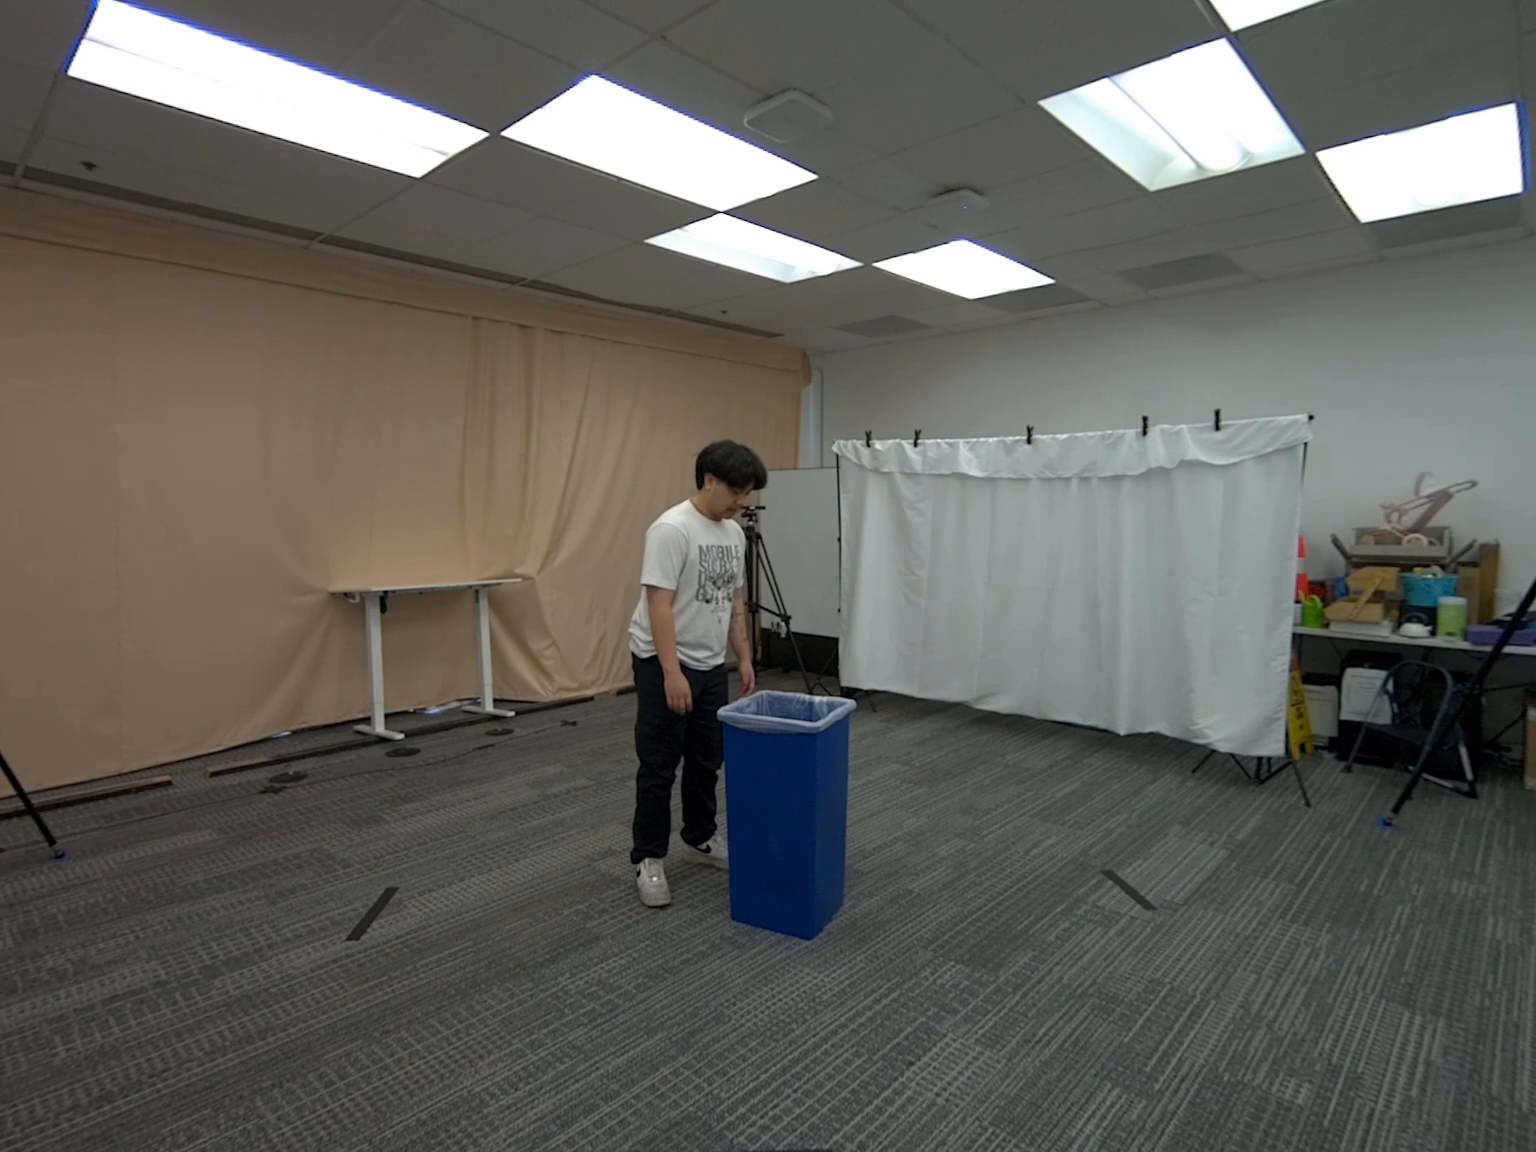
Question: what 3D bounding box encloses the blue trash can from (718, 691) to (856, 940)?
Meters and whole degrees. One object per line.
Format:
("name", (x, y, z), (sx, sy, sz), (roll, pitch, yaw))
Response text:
("blue trash can", (0.072, 0.794, 2.863), (0.388, 0.712, 0.365), (1, 3, 26))
